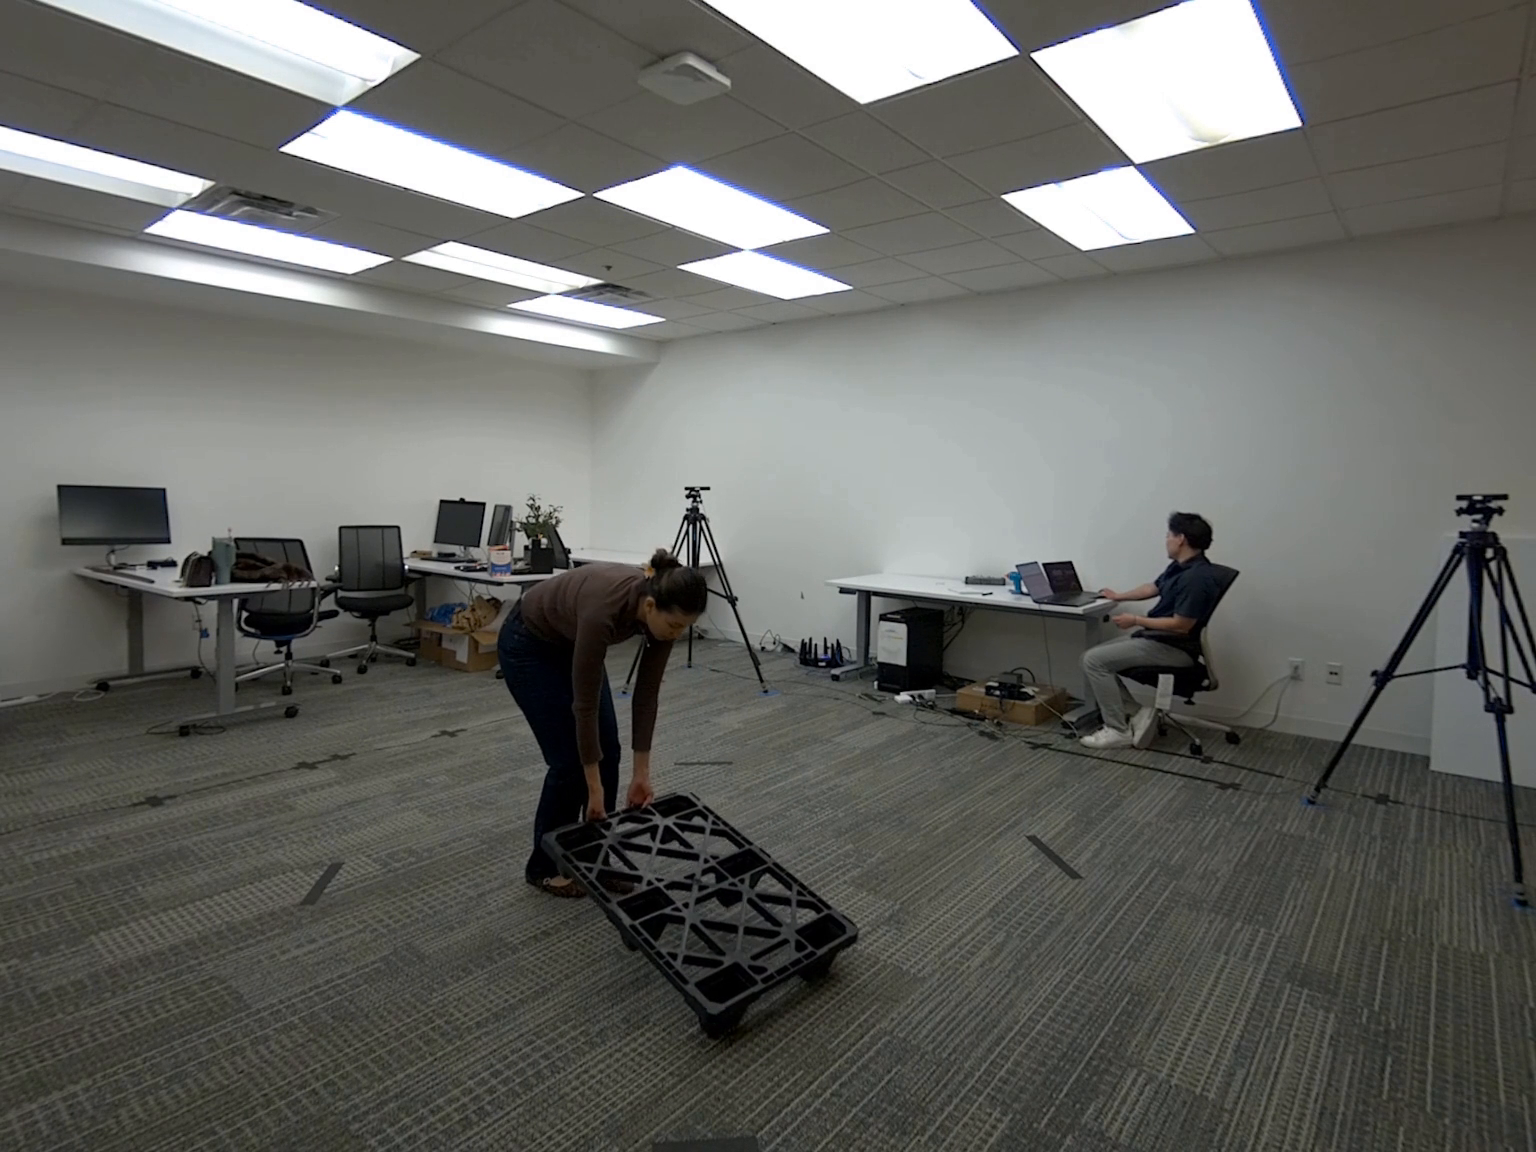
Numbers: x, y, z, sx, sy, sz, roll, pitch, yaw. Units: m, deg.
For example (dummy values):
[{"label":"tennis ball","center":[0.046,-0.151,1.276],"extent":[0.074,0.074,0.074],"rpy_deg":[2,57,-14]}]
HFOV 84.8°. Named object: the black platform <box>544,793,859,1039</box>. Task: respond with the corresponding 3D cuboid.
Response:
[{"label":"black platform","center":[-0.234,0.963,2.542],"extent":[0.587,0.142,0.839],"rpy_deg":[-4,22,-45]}]
